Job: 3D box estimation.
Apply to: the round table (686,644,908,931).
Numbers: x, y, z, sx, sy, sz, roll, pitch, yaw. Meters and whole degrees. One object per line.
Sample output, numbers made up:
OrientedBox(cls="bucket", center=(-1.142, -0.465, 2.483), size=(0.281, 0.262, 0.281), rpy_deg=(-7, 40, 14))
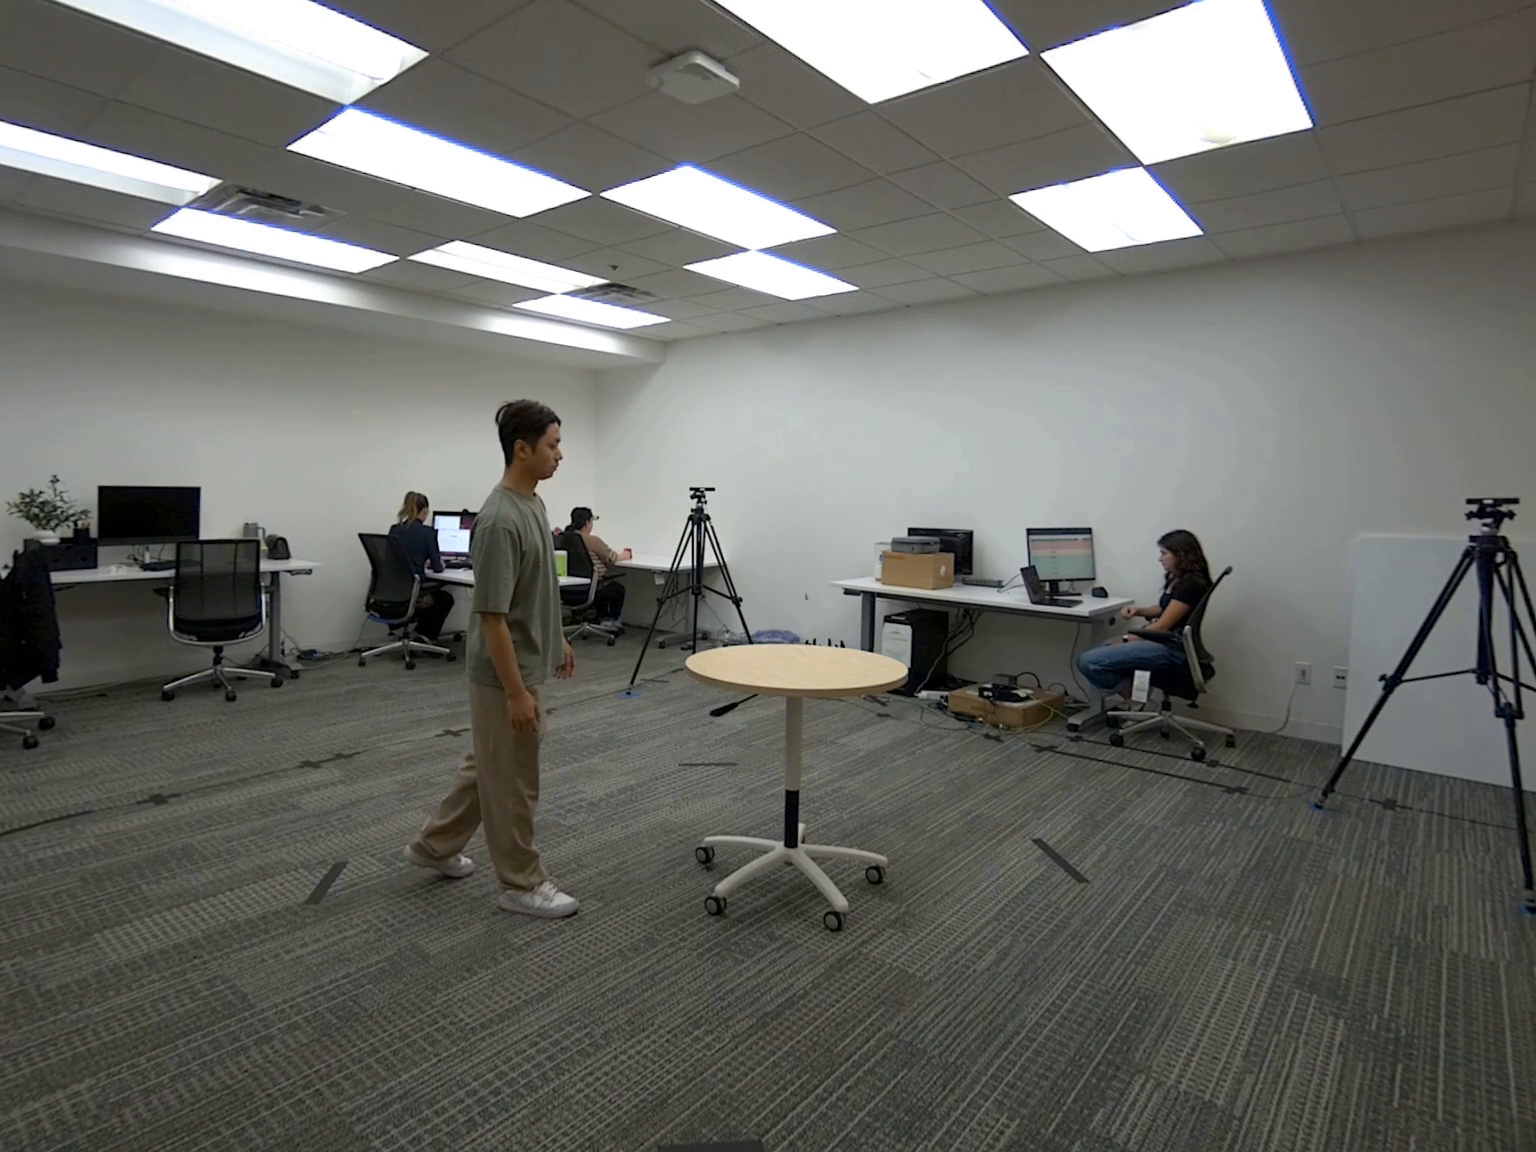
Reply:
OrientedBox(cls="round table", center=(0.083, 0.692, 2.991), size=(0.784, 0.784, 0.789), rpy_deg=(1, 4, -2))
